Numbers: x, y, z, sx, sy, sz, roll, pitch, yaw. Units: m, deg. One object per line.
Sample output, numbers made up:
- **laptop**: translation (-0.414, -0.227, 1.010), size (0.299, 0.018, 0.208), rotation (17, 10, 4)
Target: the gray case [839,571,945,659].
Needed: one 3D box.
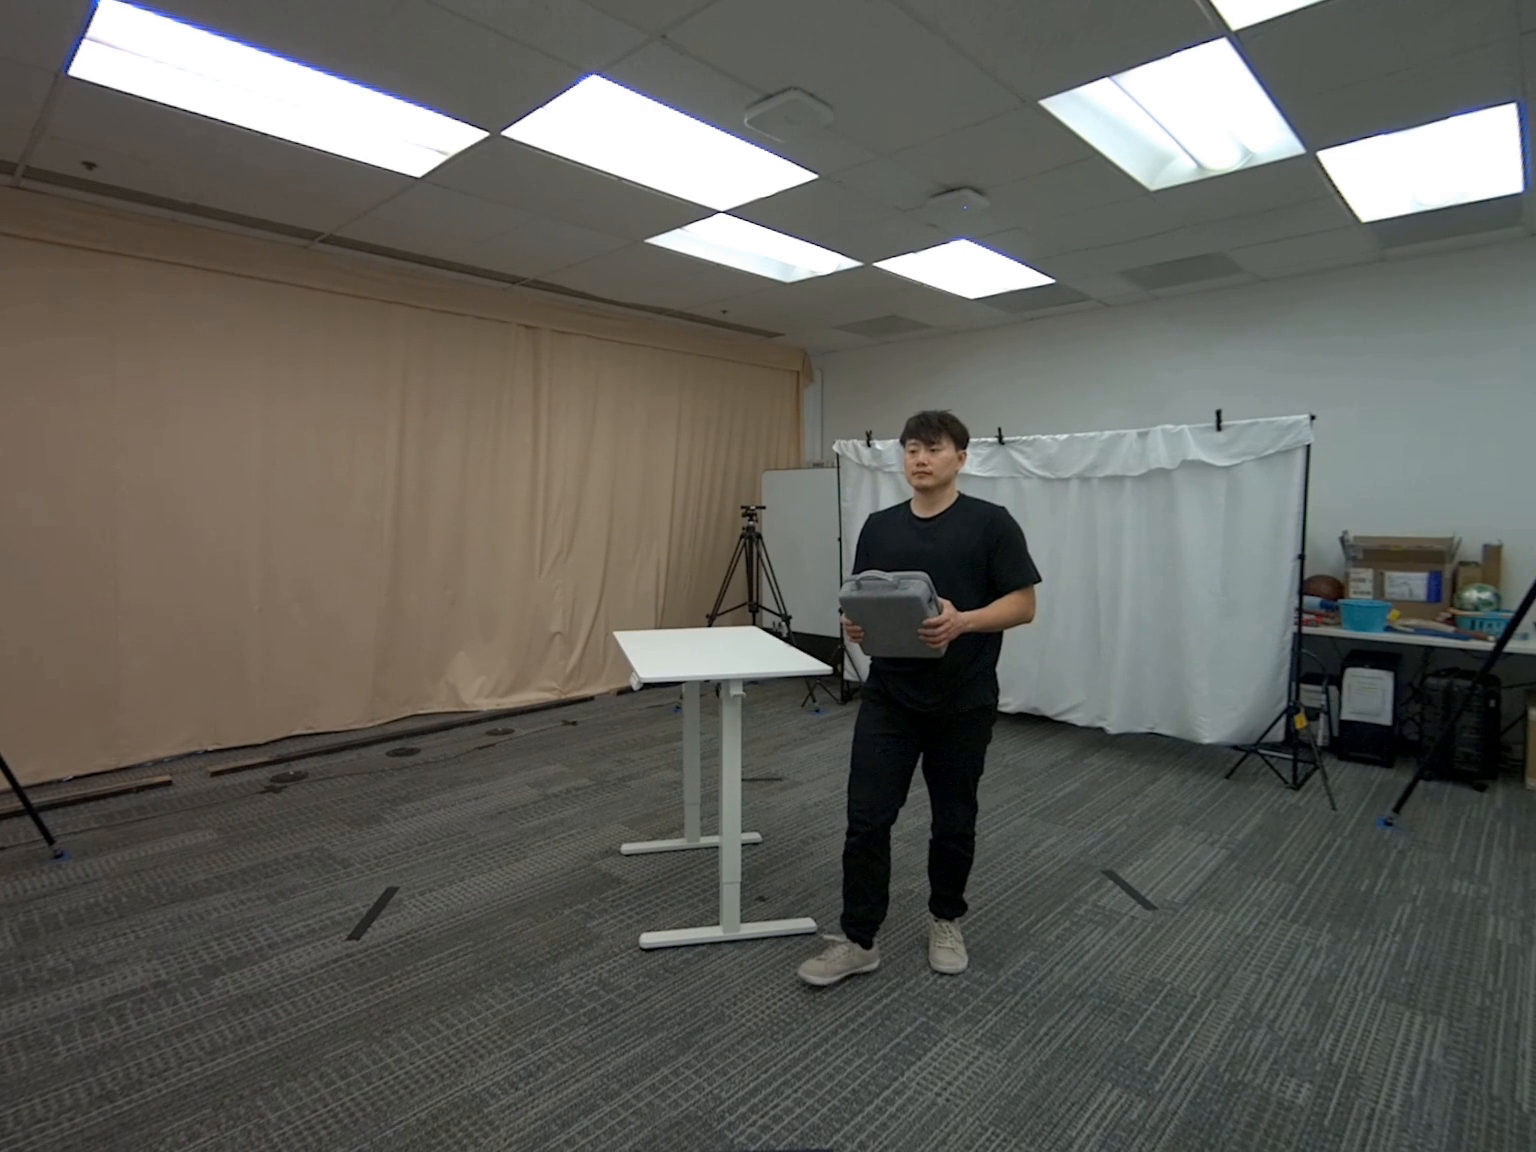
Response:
- **gray case**: translation (0.357, 0.108, 2.330), size (0.264, 0.253, 0.104), rotation (-4, 39, 34)
